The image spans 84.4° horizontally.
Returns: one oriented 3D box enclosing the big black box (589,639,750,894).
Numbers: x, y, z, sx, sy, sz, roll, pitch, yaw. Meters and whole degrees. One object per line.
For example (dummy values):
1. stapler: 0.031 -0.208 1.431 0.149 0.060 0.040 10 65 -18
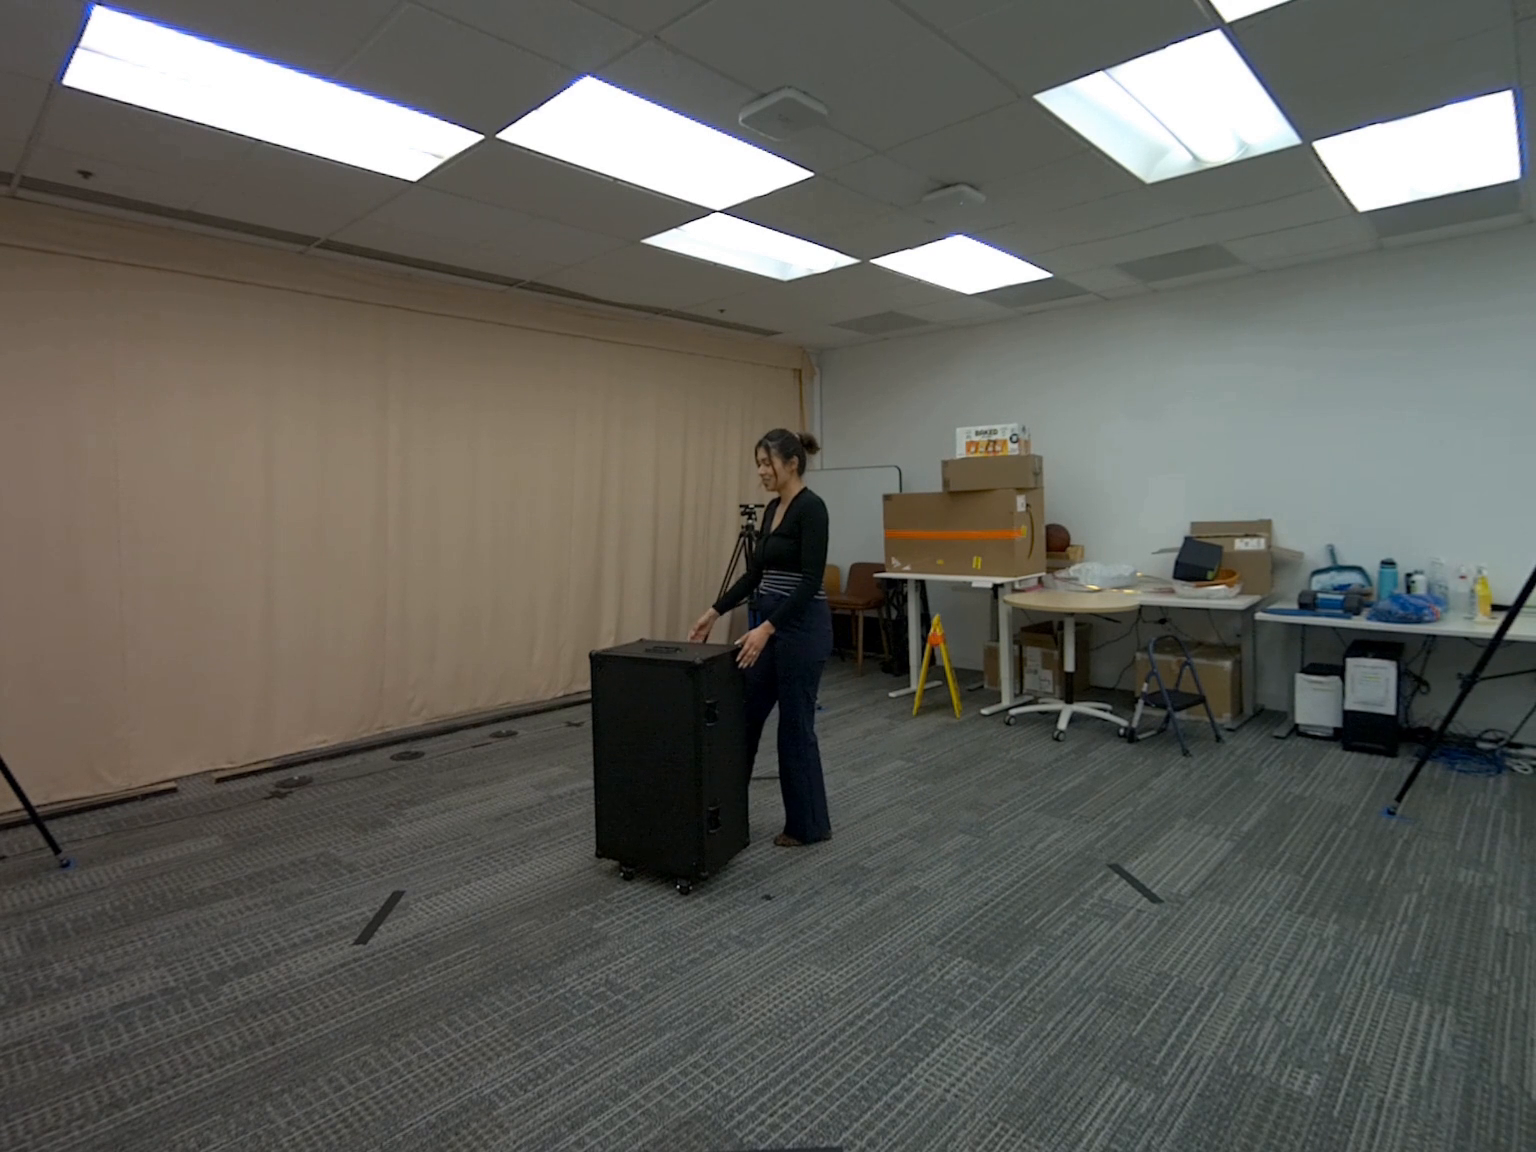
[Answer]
1. big black box: -0.372 0.701 3.226 0.536 0.860 0.386 0 2 29
